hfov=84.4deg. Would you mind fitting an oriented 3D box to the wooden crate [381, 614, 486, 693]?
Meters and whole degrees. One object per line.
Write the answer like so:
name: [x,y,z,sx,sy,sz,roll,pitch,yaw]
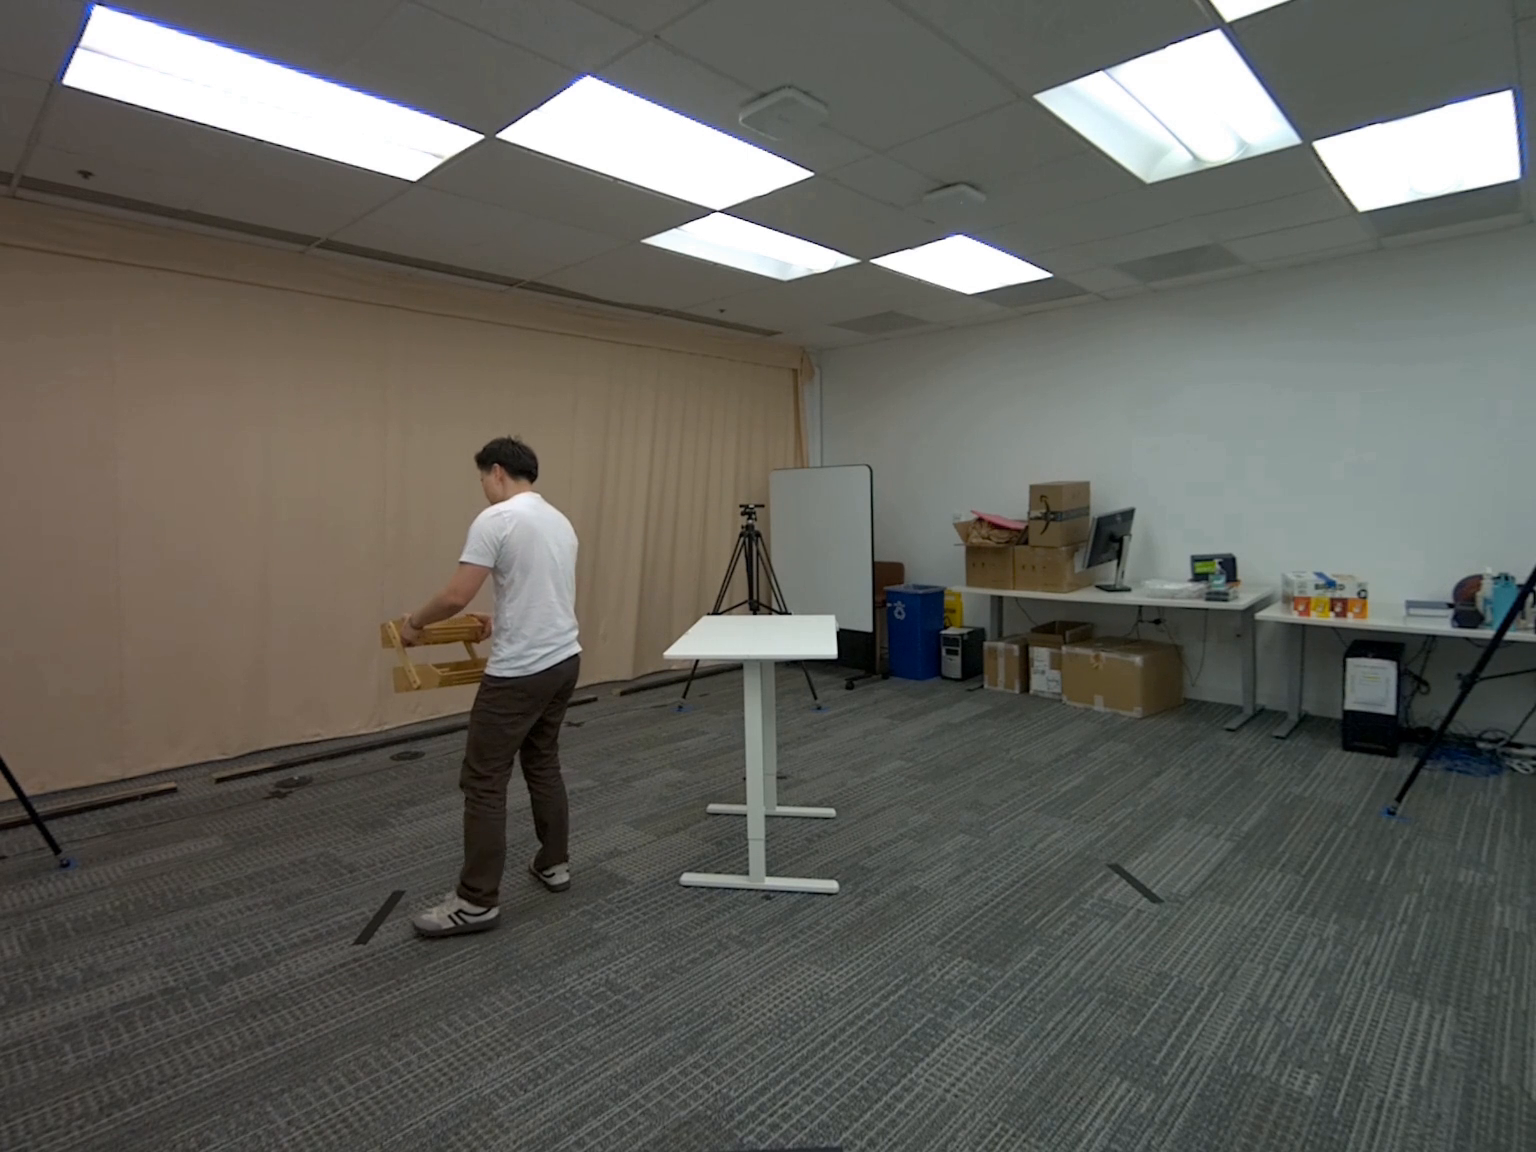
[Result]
wooden crate: [-1.204,0.281,3.117,0.309,0.275,0.315,-10,-7,29]
